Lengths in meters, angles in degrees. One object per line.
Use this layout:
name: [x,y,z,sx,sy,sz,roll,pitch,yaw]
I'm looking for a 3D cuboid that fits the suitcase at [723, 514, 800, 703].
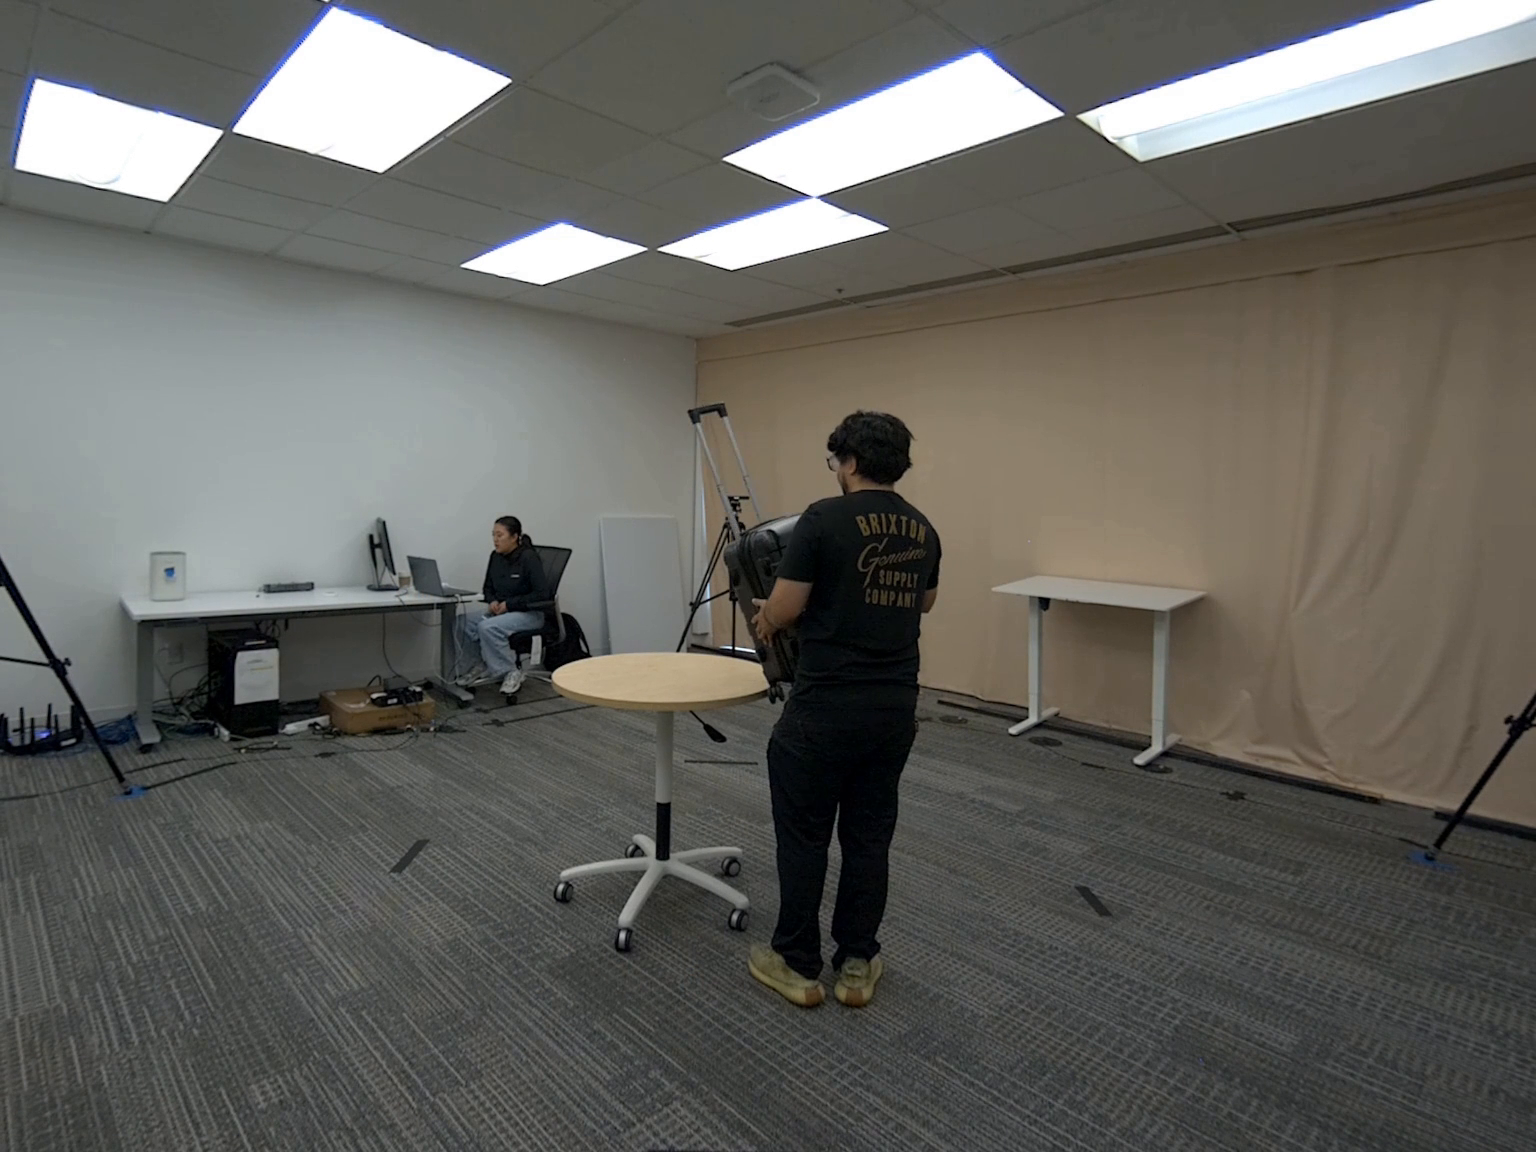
suitcase: [0.037,-0.119,2.716,0.378,0.977,0.261,-21,3,-42]
